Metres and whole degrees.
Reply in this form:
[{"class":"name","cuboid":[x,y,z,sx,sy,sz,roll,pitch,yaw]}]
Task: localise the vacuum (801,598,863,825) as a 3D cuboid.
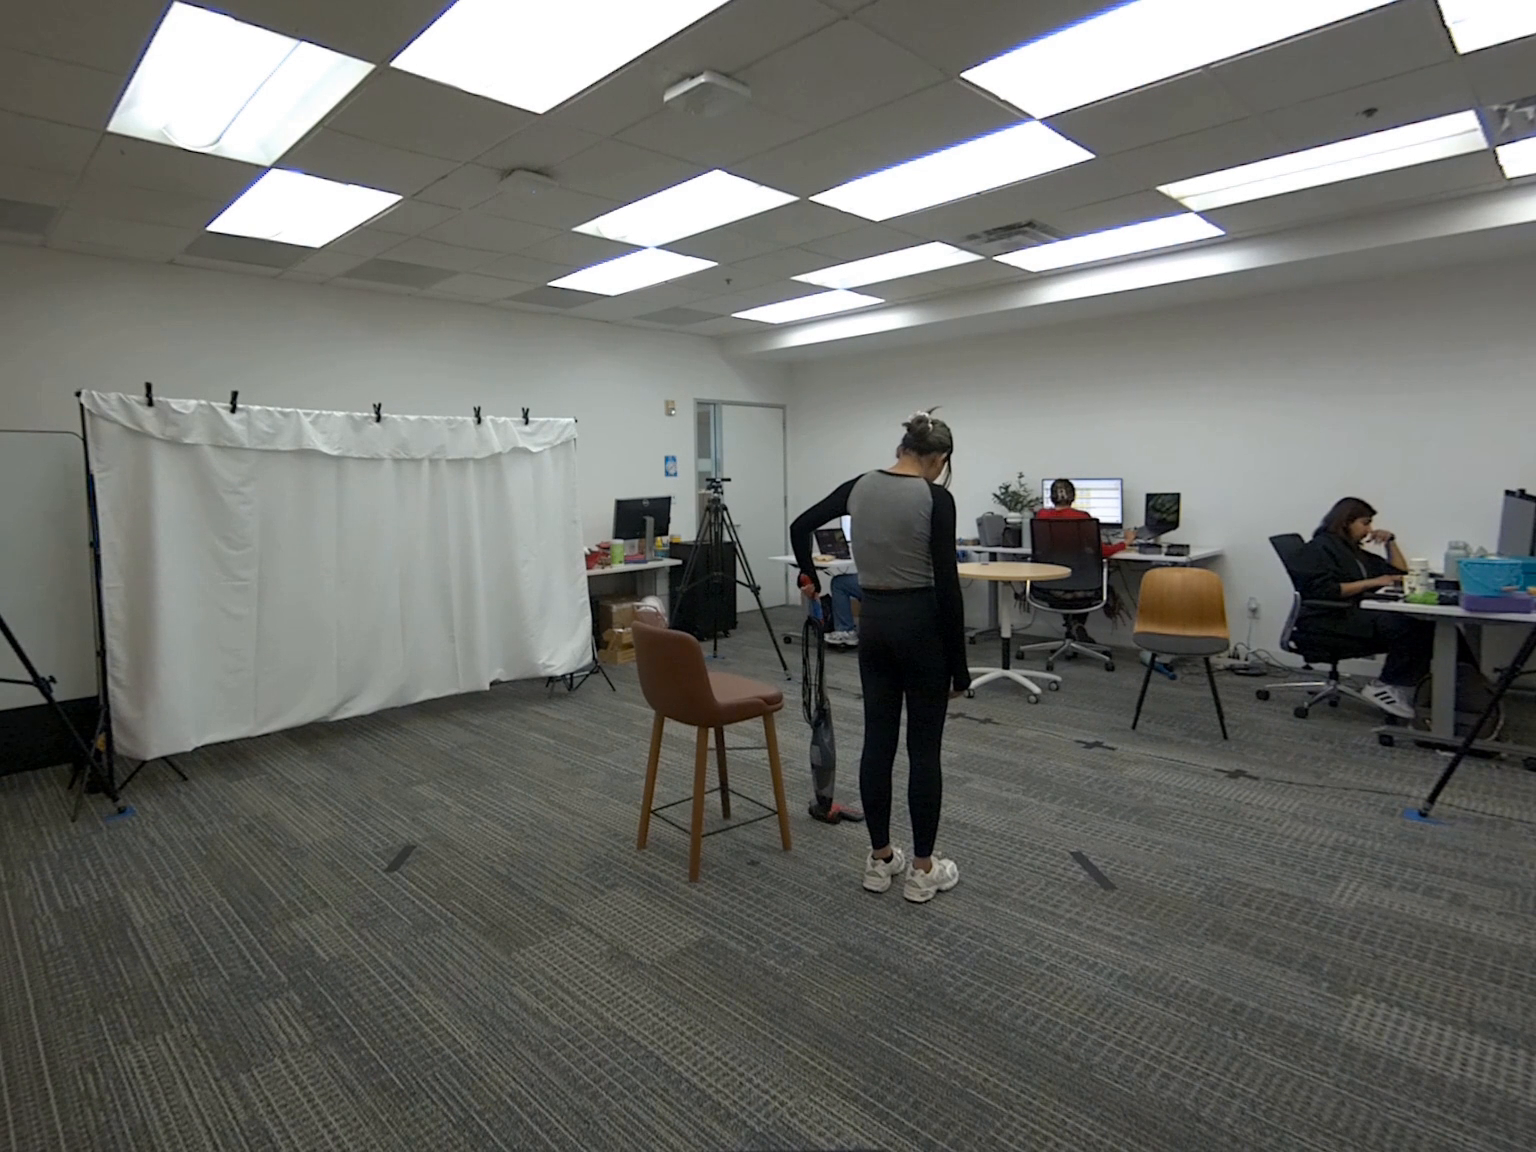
[{"class":"vacuum","cuboid":[0.204,0.504,3.383,0.261,1.032,0.142,8,22,41]}]
